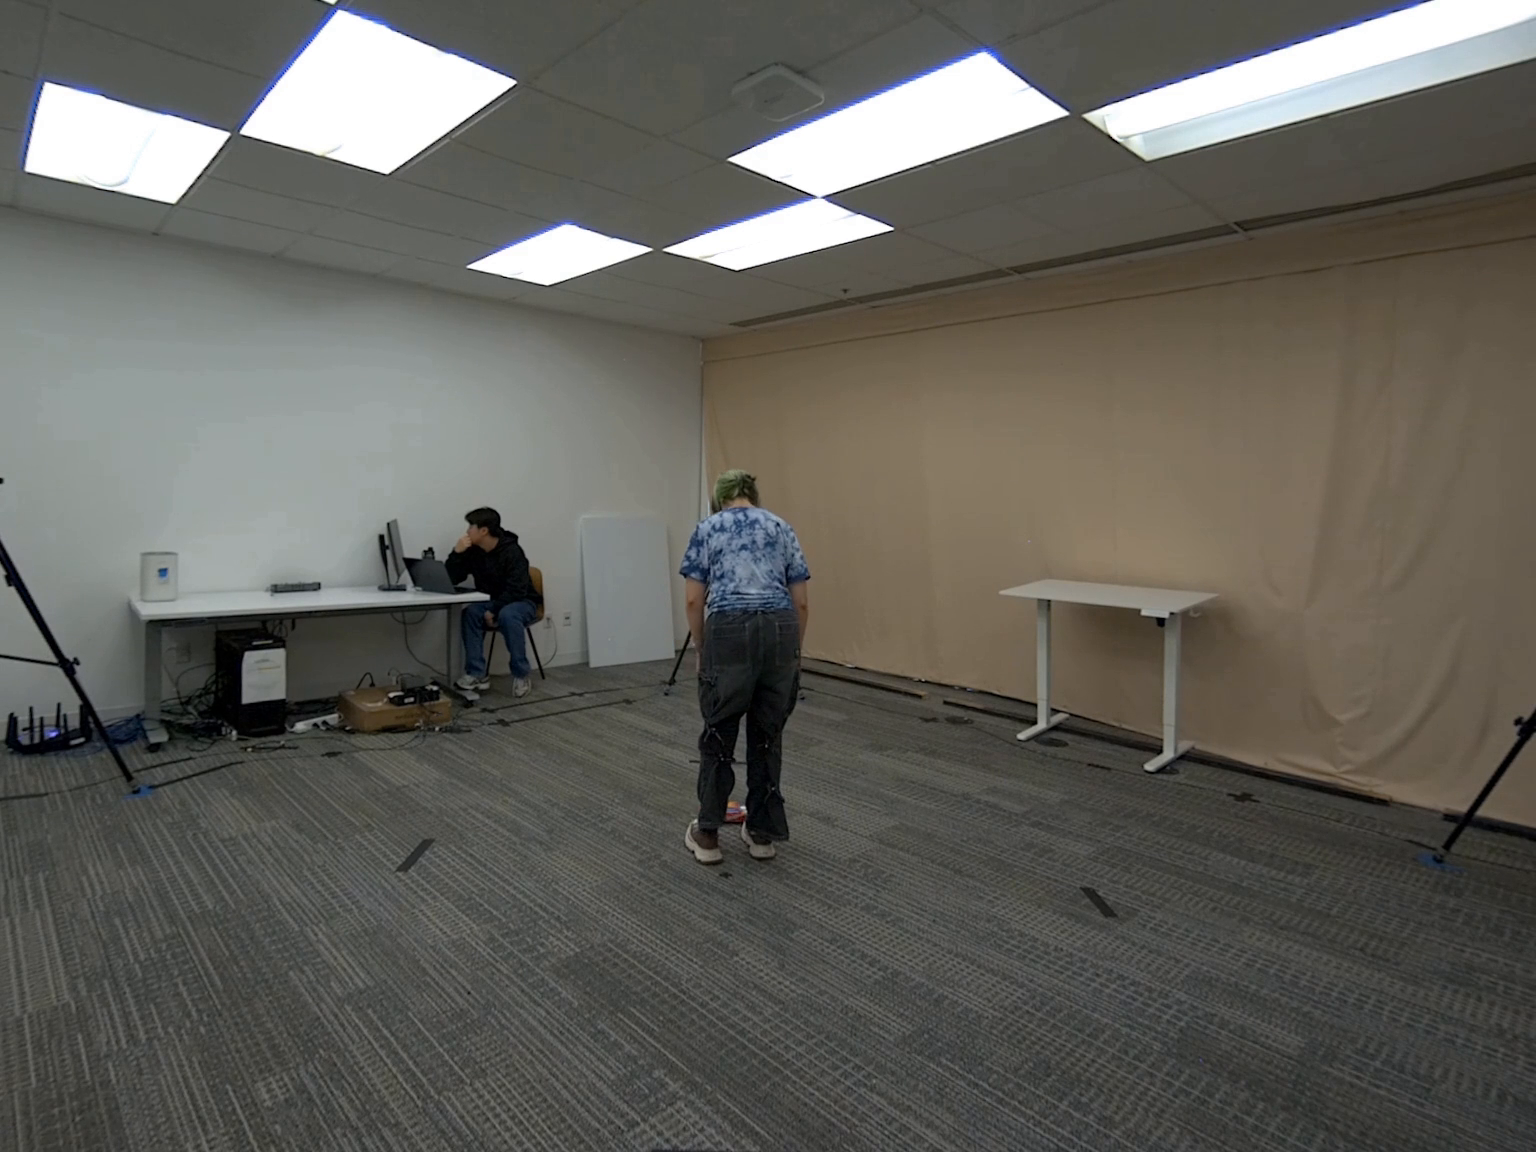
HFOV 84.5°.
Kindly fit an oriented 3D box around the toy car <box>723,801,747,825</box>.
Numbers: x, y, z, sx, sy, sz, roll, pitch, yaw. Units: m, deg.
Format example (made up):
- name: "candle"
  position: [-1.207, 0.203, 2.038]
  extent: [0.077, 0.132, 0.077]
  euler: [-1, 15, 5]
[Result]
- name: "toy car"
  position: [-0.176, 1.030, 3.634]
  extent: [0.254, 0.083, 0.131]
  euler: [13, 4, -2]
